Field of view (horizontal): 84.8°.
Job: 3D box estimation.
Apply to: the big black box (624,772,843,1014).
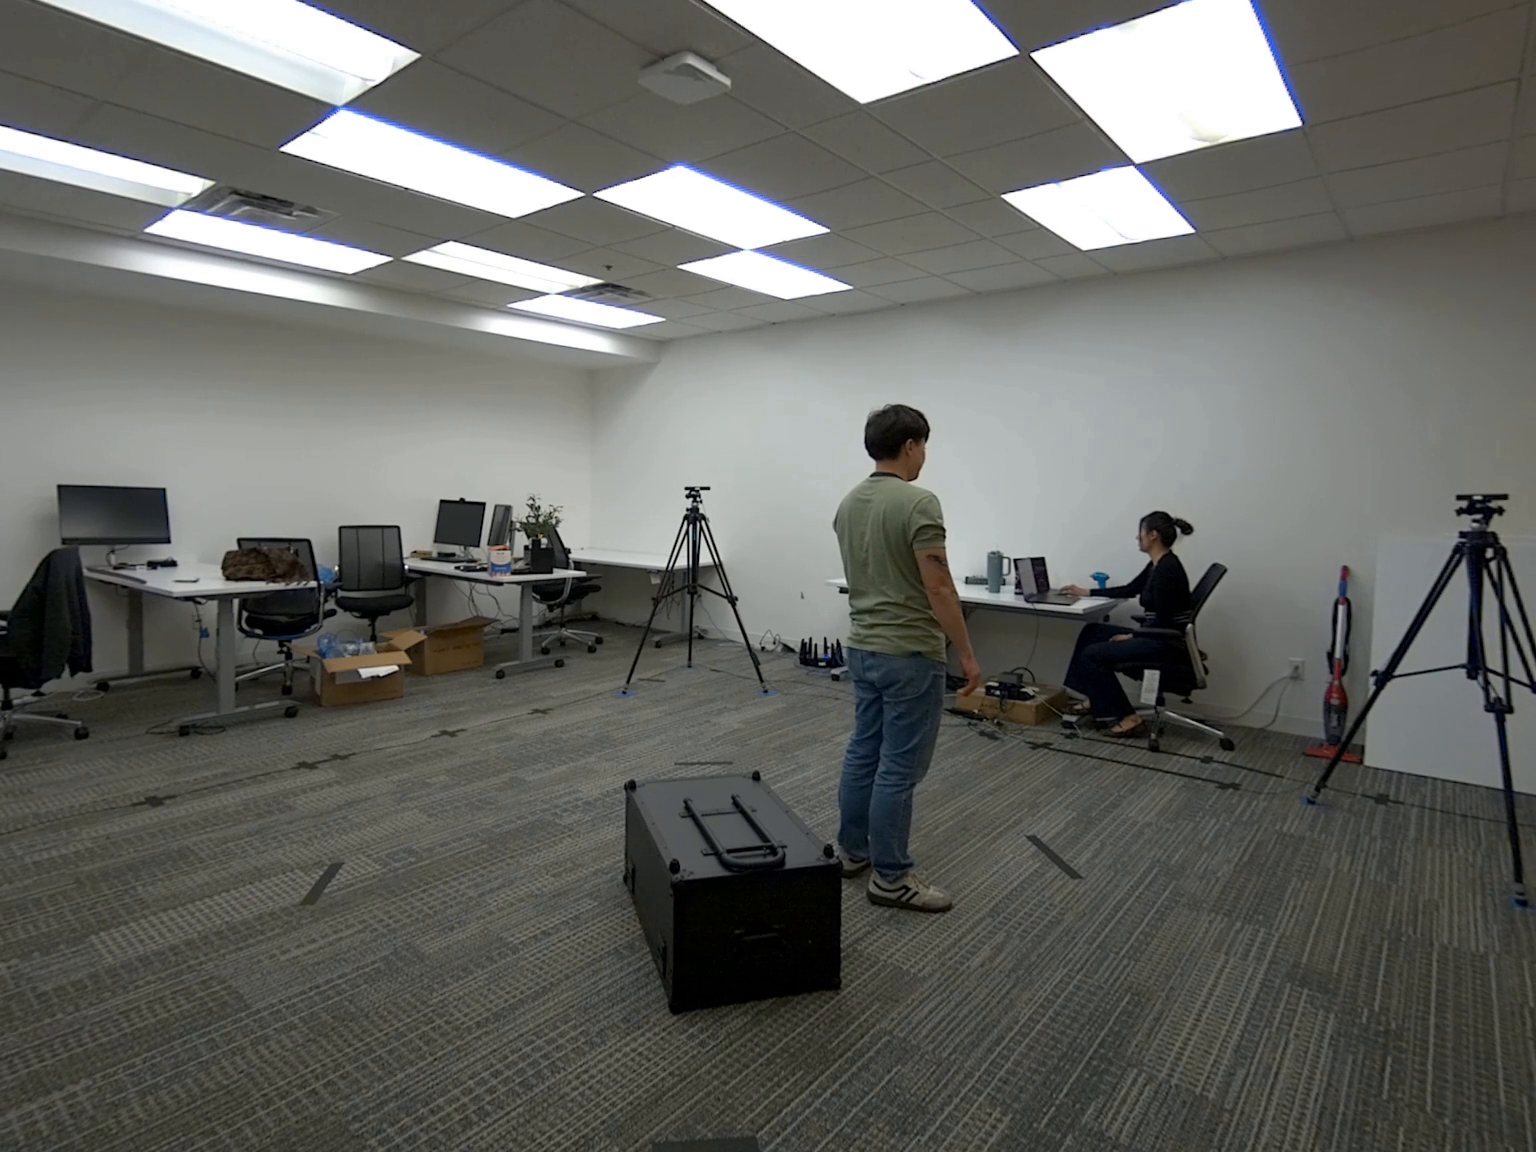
[{"bbox_3d":[-0.170,0.916,2.692,0.512,0.395,0.879,0,4,-19],"label":"big black box"}]
